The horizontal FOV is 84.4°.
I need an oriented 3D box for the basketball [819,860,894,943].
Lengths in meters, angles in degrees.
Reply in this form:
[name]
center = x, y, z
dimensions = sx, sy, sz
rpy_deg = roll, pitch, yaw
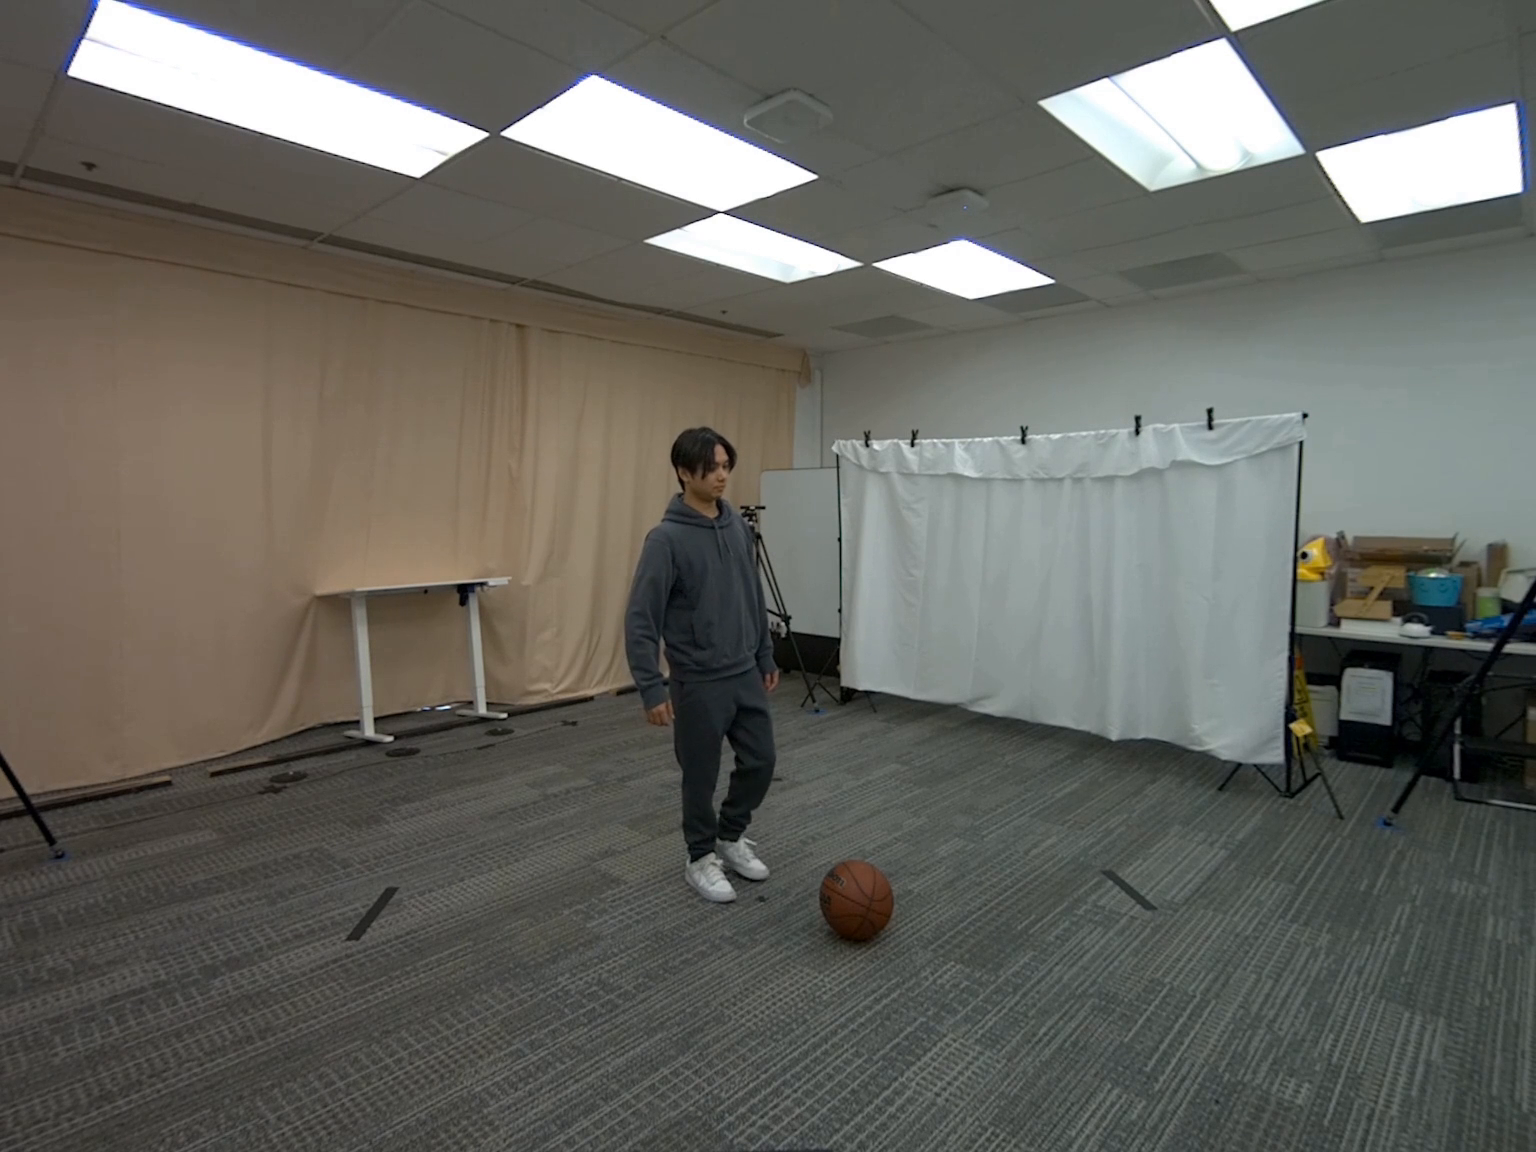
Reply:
[basketball]
center = 0.290, 1.041, 2.726
dimensions = 0.236, 0.235, 0.237
rpy_deg = 0, 4, -2
